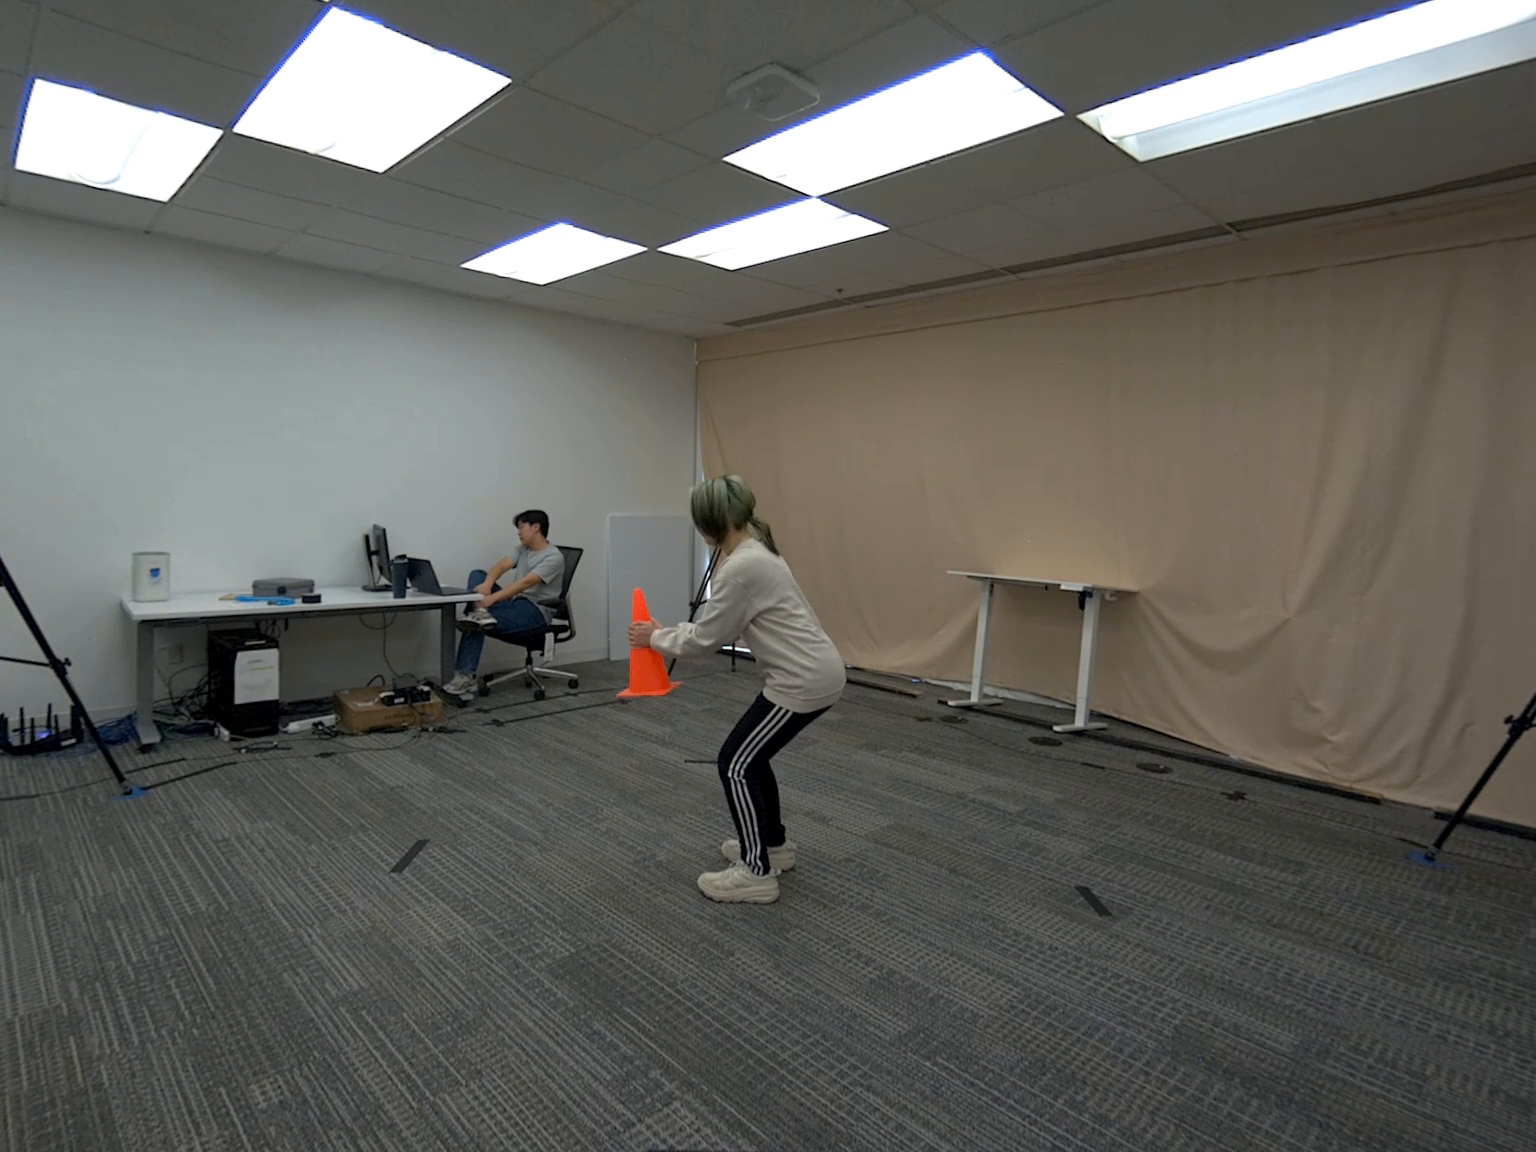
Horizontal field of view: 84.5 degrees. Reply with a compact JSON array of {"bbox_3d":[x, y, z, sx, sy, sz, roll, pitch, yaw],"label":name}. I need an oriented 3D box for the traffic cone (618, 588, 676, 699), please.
[{"bbox_3d":[-0.467,0.243,3.163,0.206,0.383,0.202,-6,1,20],"label":"traffic cone"}]
